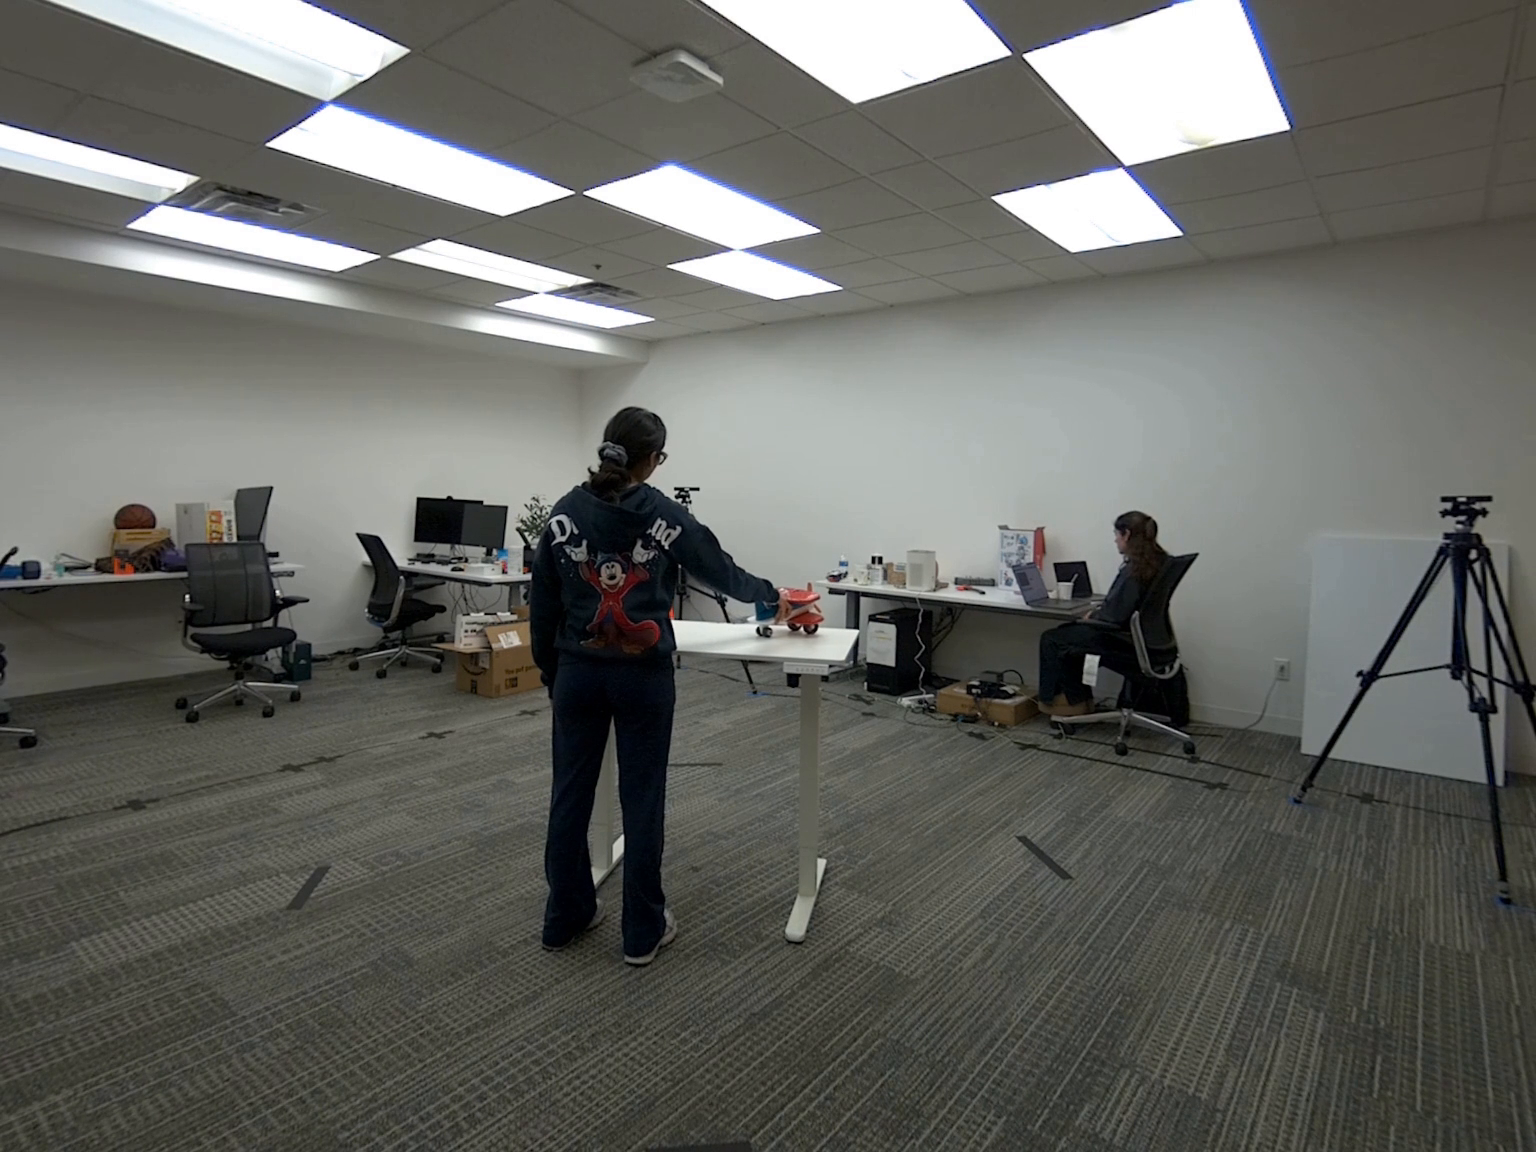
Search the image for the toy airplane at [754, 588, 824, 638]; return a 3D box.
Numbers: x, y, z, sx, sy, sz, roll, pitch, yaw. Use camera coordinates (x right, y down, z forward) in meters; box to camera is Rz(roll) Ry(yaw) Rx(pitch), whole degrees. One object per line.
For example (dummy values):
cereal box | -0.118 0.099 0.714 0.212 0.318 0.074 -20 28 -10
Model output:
toy airplane | 0.070 0.127 2.970 0.257 0.156 0.253 2 4 24
